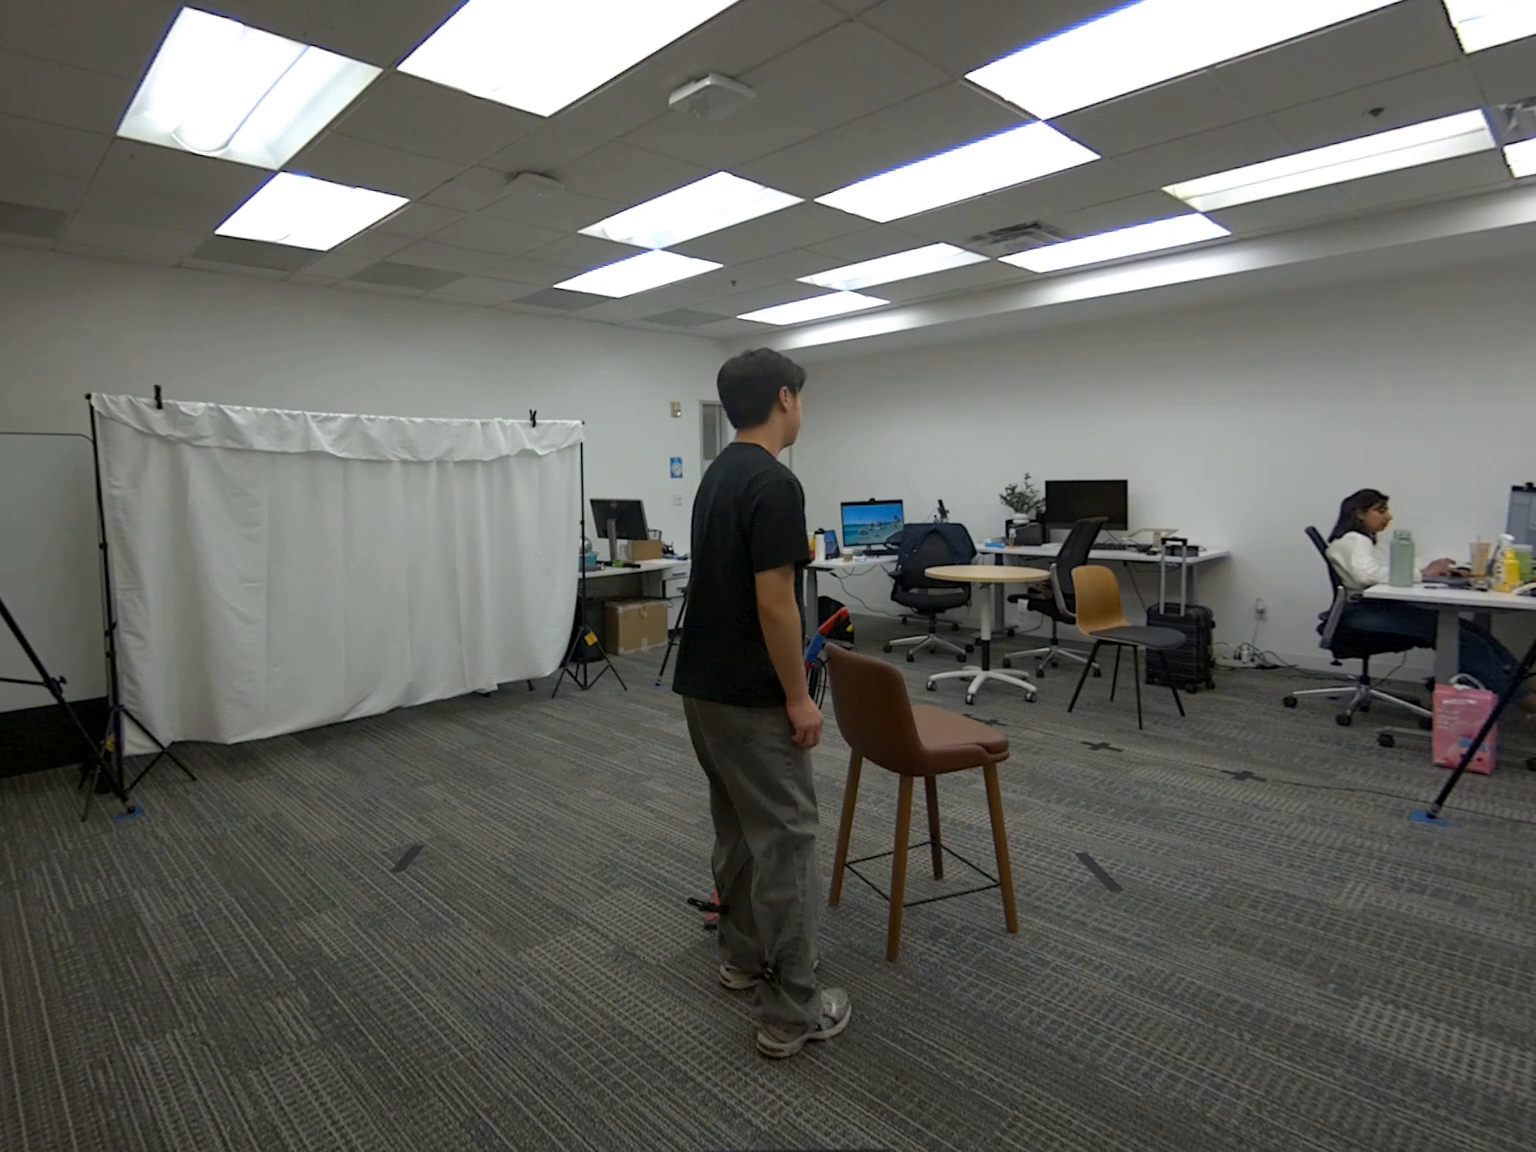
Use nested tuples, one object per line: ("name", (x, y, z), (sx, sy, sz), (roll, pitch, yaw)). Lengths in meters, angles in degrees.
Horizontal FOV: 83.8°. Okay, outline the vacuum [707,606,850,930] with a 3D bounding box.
("vacuum", (0.068, 0.597, 2.706), (0.143, 1.045, 0.255), (18, 7, -6))
